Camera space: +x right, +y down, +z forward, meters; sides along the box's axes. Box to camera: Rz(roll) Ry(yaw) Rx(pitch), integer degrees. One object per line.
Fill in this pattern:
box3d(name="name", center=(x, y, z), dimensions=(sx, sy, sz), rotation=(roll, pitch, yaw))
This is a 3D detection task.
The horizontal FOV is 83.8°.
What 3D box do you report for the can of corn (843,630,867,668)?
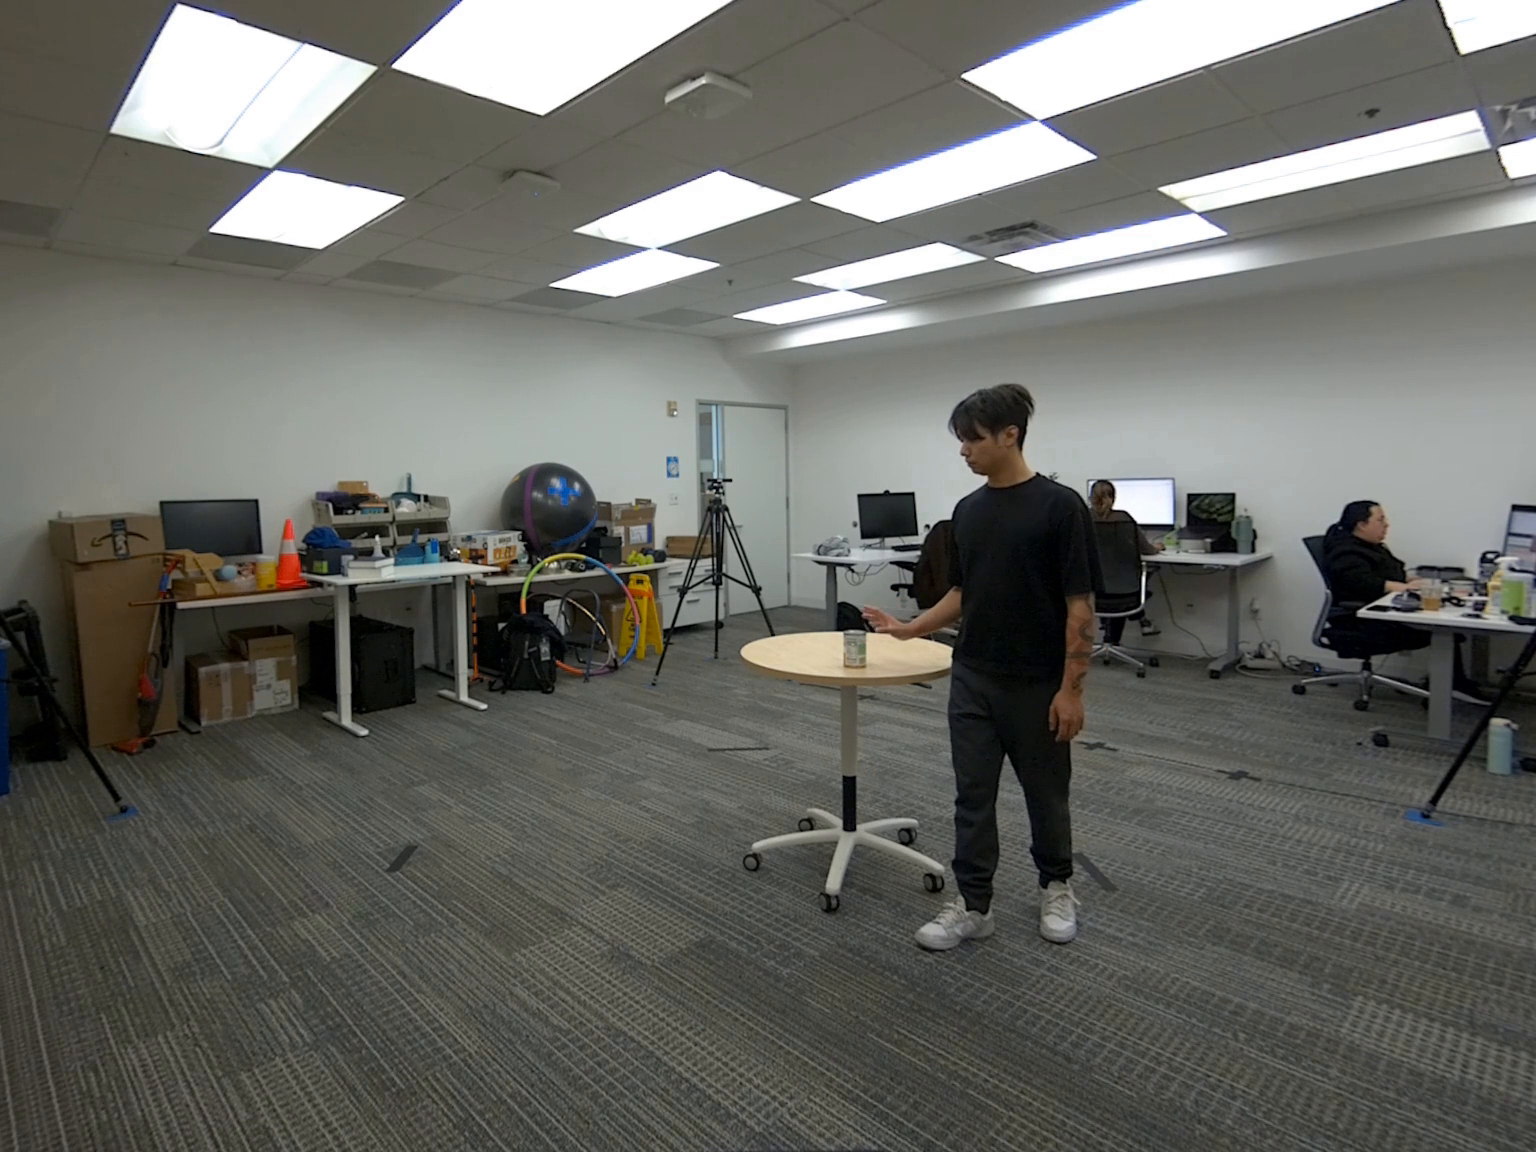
box3d(name="can of corn", center=(0.295, 0.238, 2.783), dimensions=(0.074, 0.110, 0.075), rotation=(-1, 7, -2))
